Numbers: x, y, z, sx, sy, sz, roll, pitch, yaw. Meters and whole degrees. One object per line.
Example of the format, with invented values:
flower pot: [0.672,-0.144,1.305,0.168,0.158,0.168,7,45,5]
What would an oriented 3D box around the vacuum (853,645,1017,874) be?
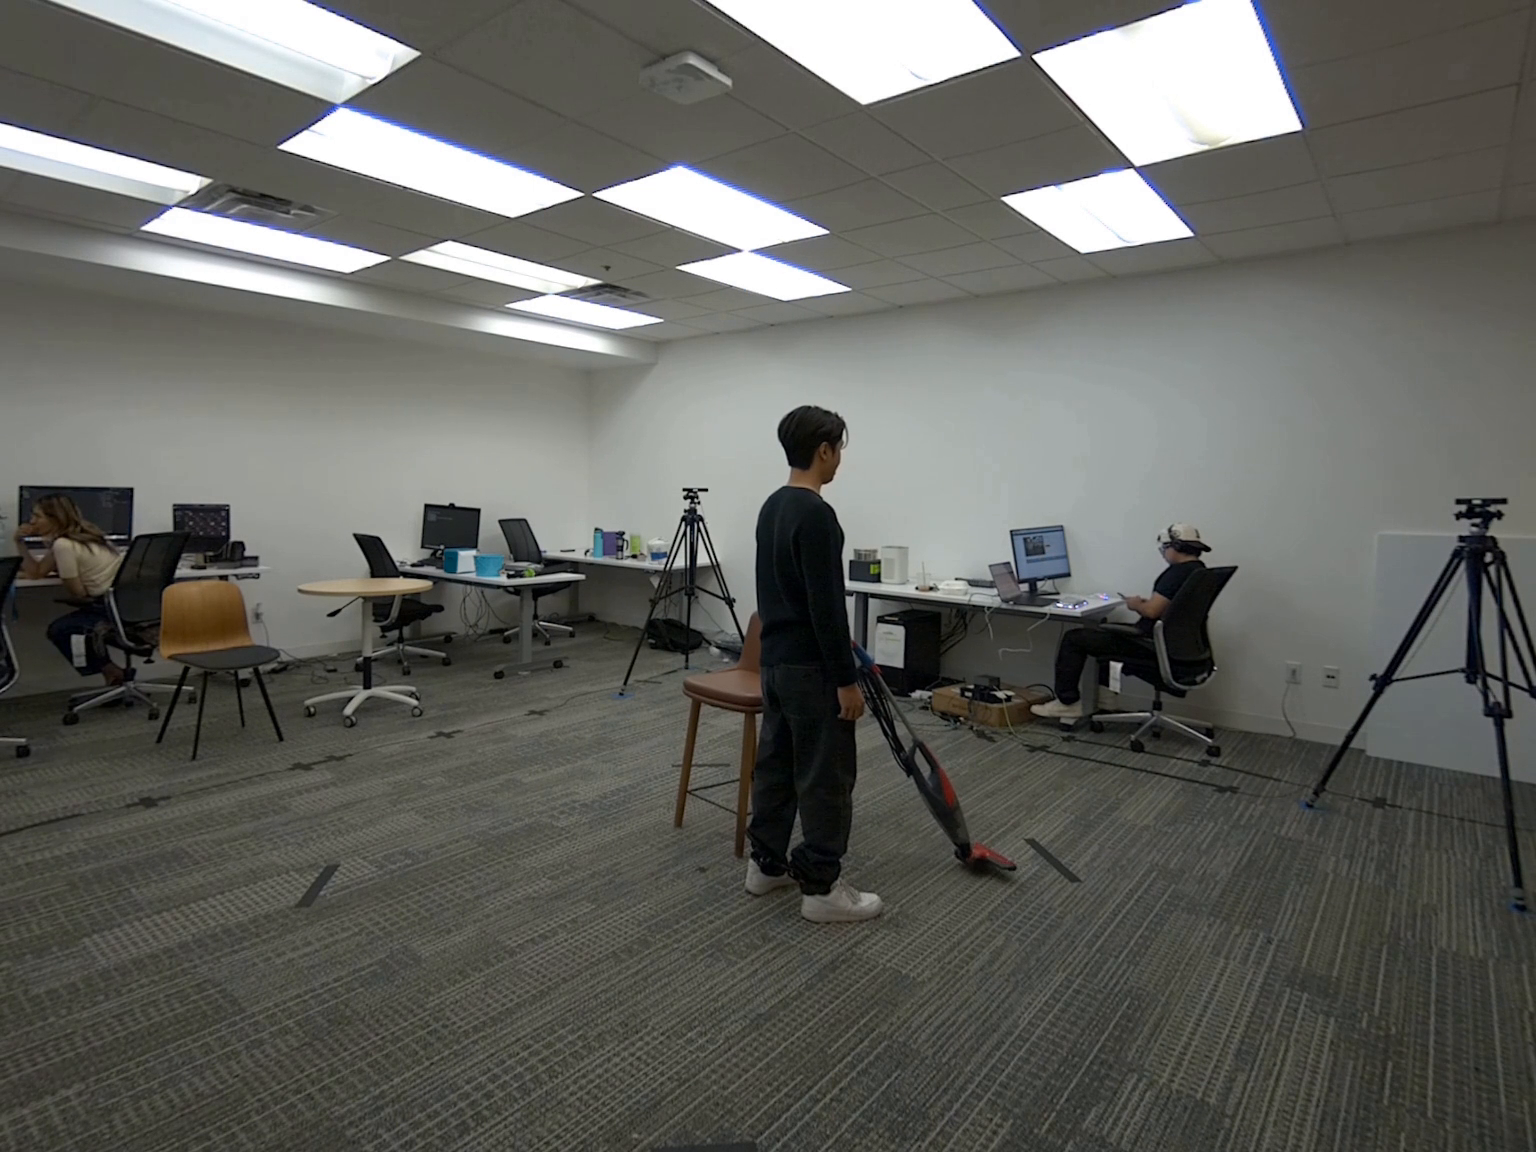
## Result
vacuum: [0.517,0.636,3.115,0.143,1.039,0.256,-34,7,-15]
